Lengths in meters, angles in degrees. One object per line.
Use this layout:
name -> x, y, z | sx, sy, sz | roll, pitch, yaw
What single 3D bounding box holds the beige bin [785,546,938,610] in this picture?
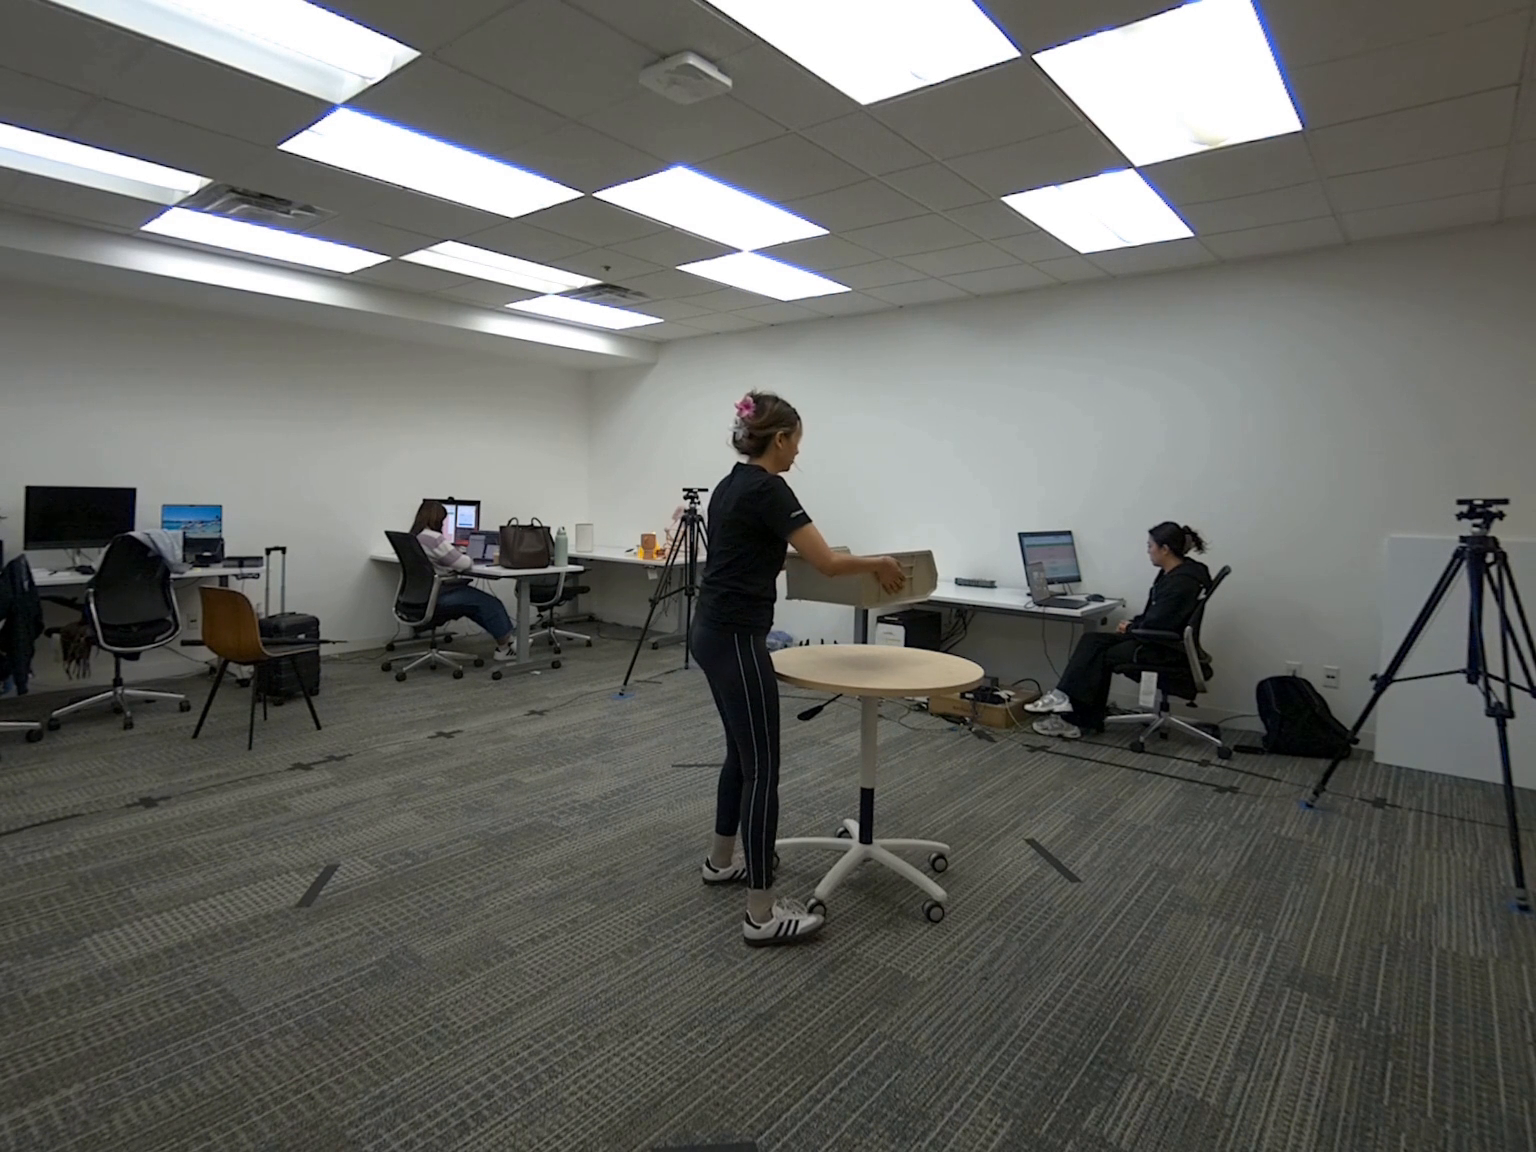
beige bin -> 0.322, -0.001, 3.079 | 0.367, 0.187, 0.437 | -10, 11, -38
